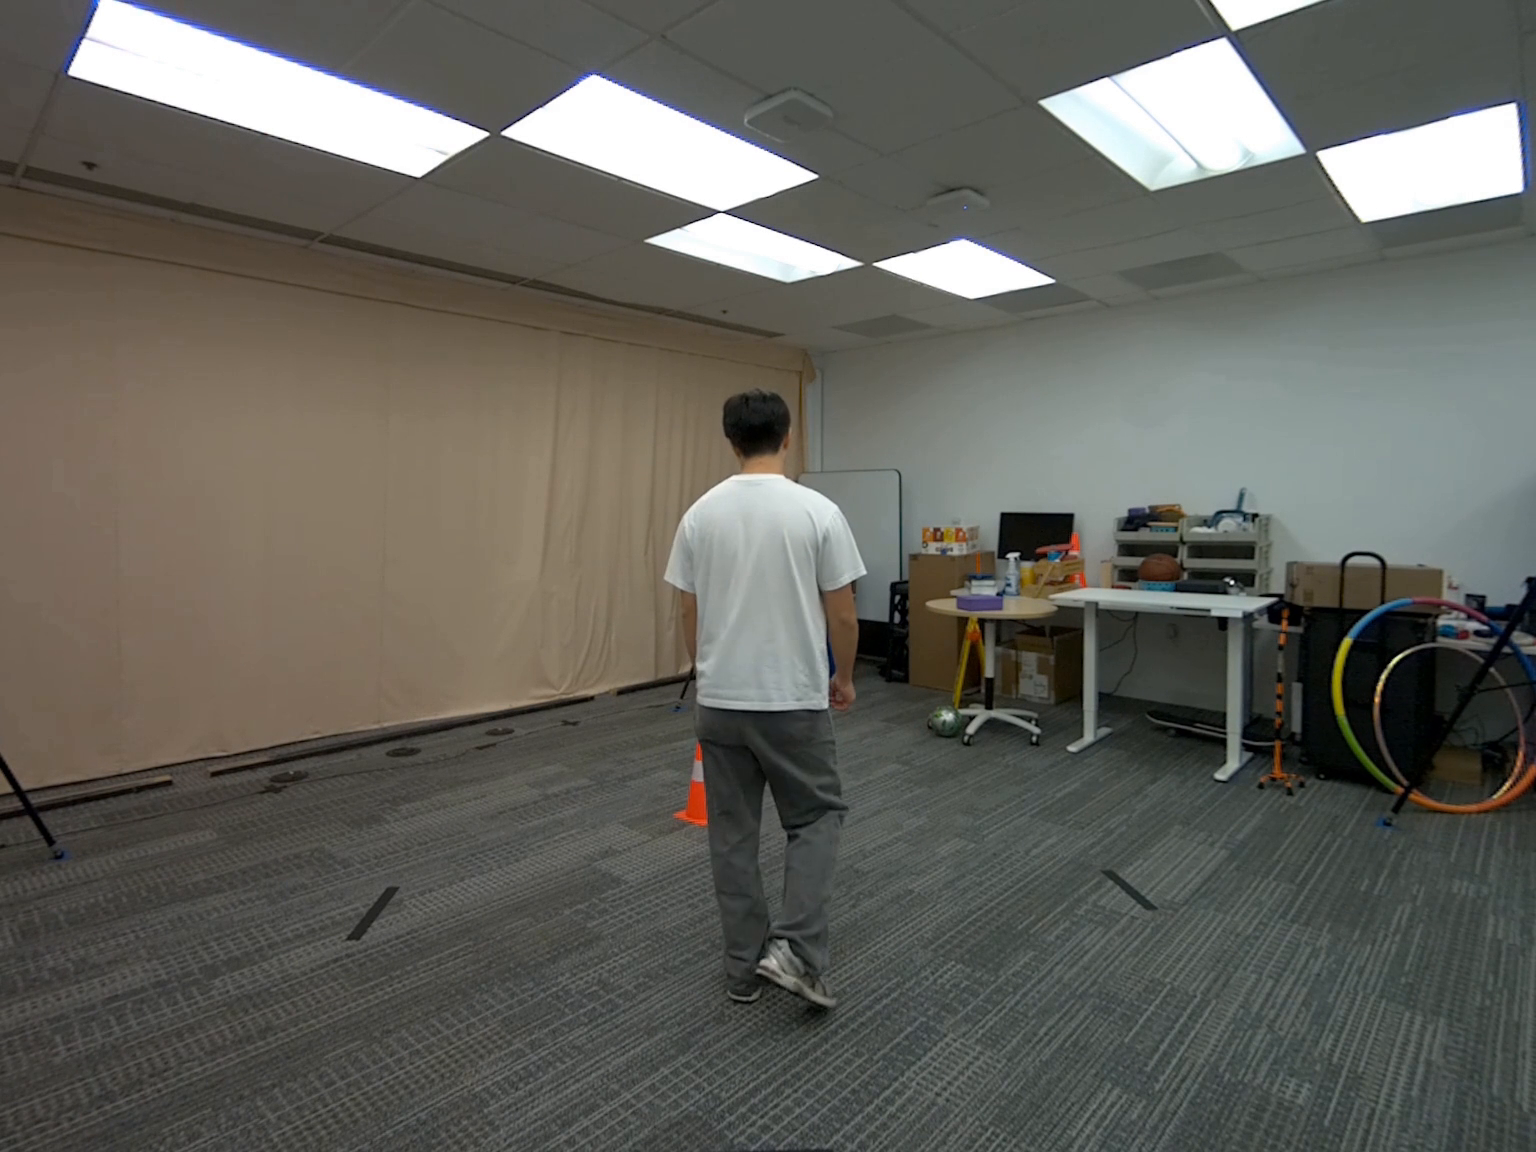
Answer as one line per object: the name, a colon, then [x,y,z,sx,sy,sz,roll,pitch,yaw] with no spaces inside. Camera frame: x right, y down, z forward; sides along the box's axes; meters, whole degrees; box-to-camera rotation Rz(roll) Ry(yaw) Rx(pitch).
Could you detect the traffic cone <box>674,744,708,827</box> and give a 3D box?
traffic cone: [-0.293,0.899,3.812,0.197,0.384,0.211,2,-1,-44]
